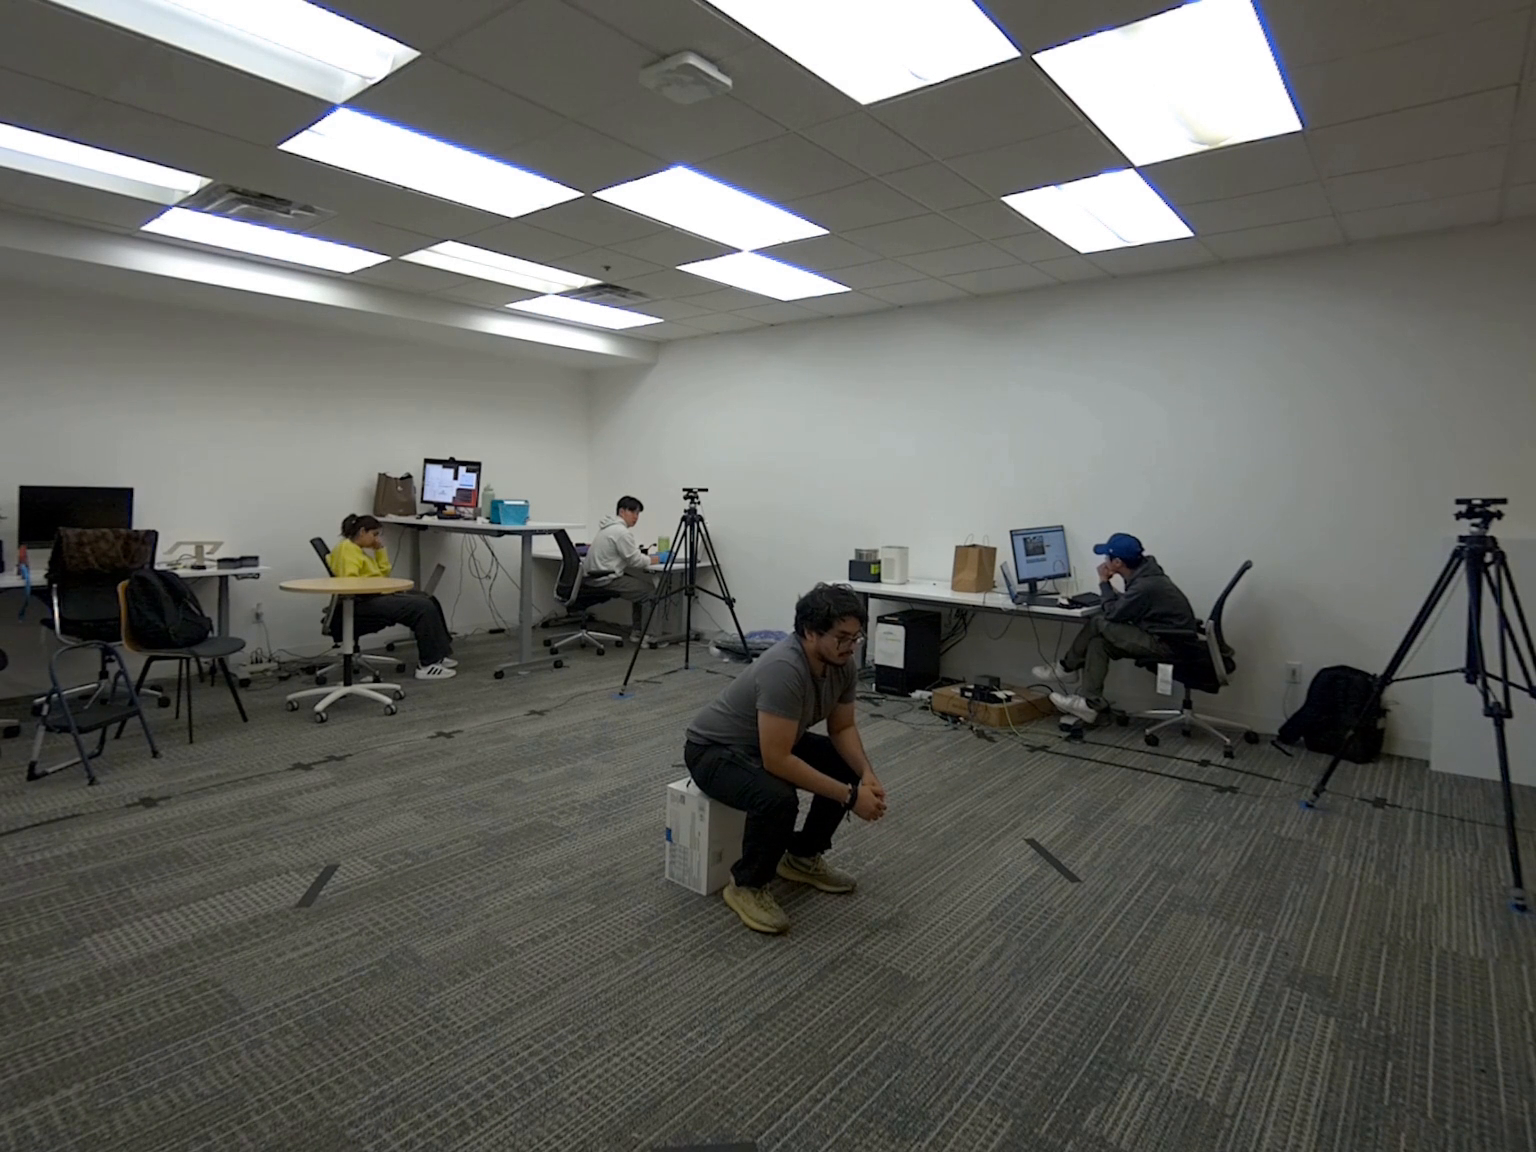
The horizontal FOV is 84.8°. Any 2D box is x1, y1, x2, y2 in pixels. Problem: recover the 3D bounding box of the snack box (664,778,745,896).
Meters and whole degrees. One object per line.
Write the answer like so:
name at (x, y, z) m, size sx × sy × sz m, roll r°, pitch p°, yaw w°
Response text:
snack box at (-0.173, 0.903, 3.109) m, size 0.212 × 0.339 × 0.393 m, roll 5°, pitch 6°, yaw 39°
